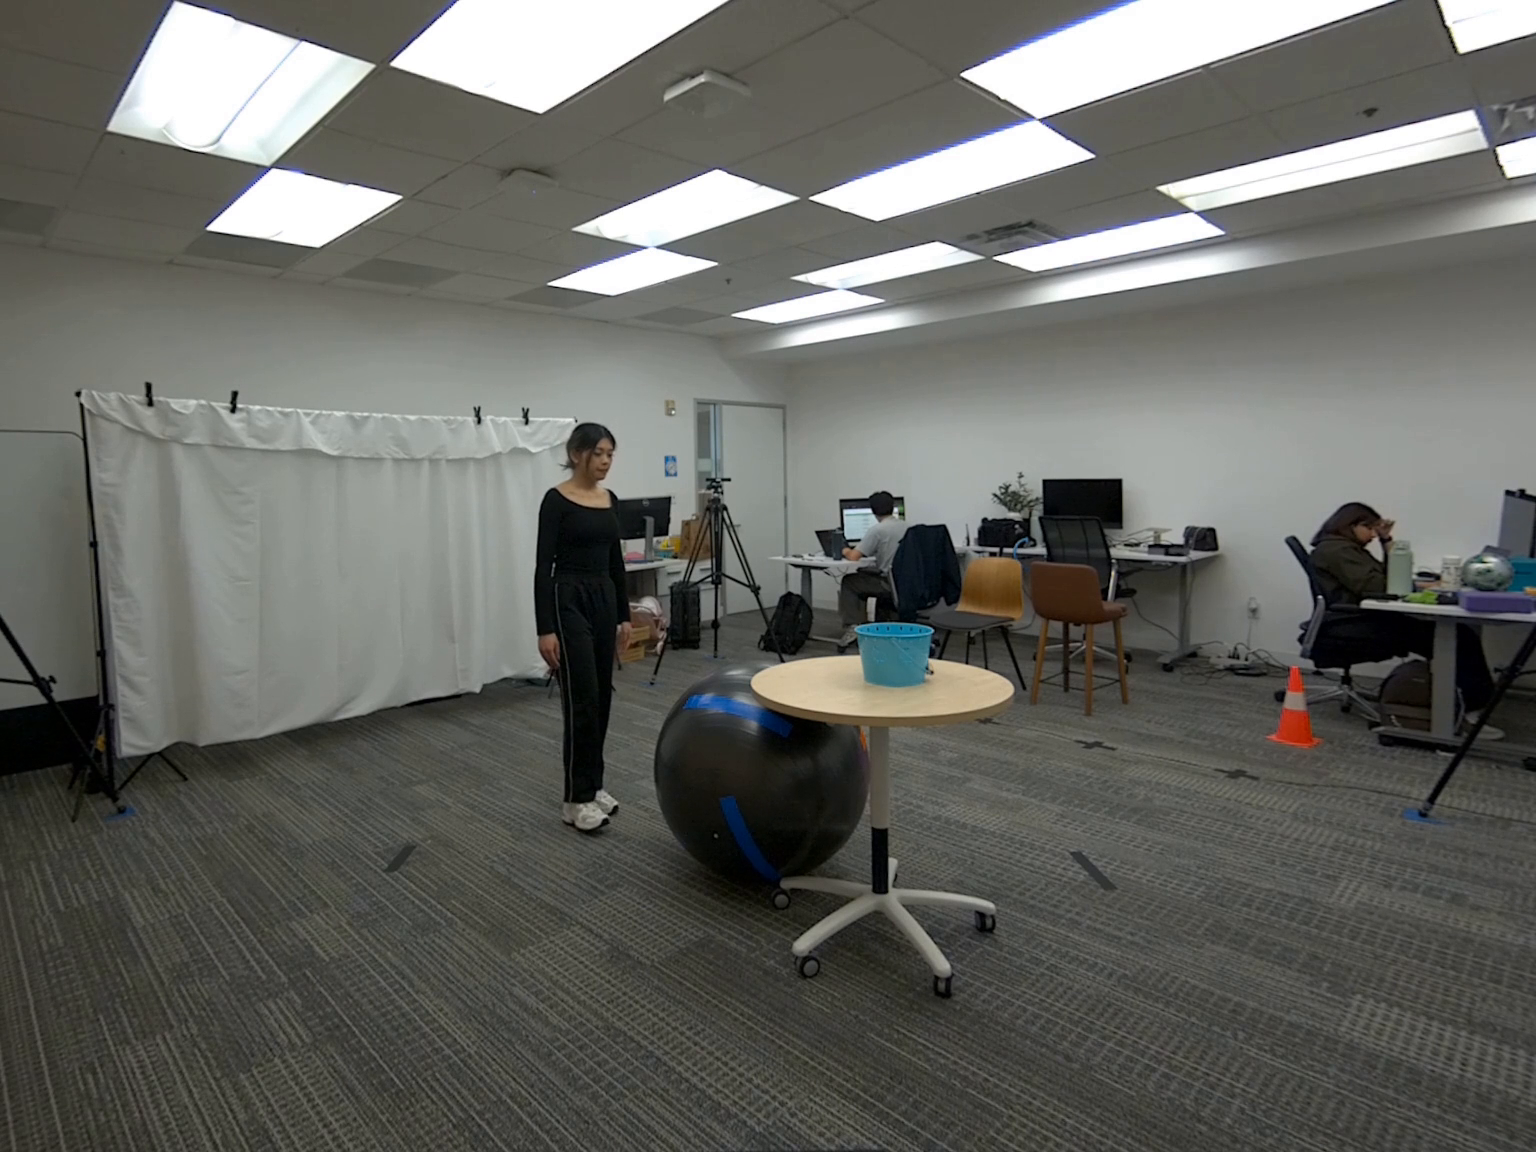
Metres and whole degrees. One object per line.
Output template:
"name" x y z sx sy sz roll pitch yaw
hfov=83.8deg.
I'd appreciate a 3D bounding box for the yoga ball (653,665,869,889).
"yoga ball" -0.024 0.685 3.019 0.757 0.755 0.762 -1 5 -2
